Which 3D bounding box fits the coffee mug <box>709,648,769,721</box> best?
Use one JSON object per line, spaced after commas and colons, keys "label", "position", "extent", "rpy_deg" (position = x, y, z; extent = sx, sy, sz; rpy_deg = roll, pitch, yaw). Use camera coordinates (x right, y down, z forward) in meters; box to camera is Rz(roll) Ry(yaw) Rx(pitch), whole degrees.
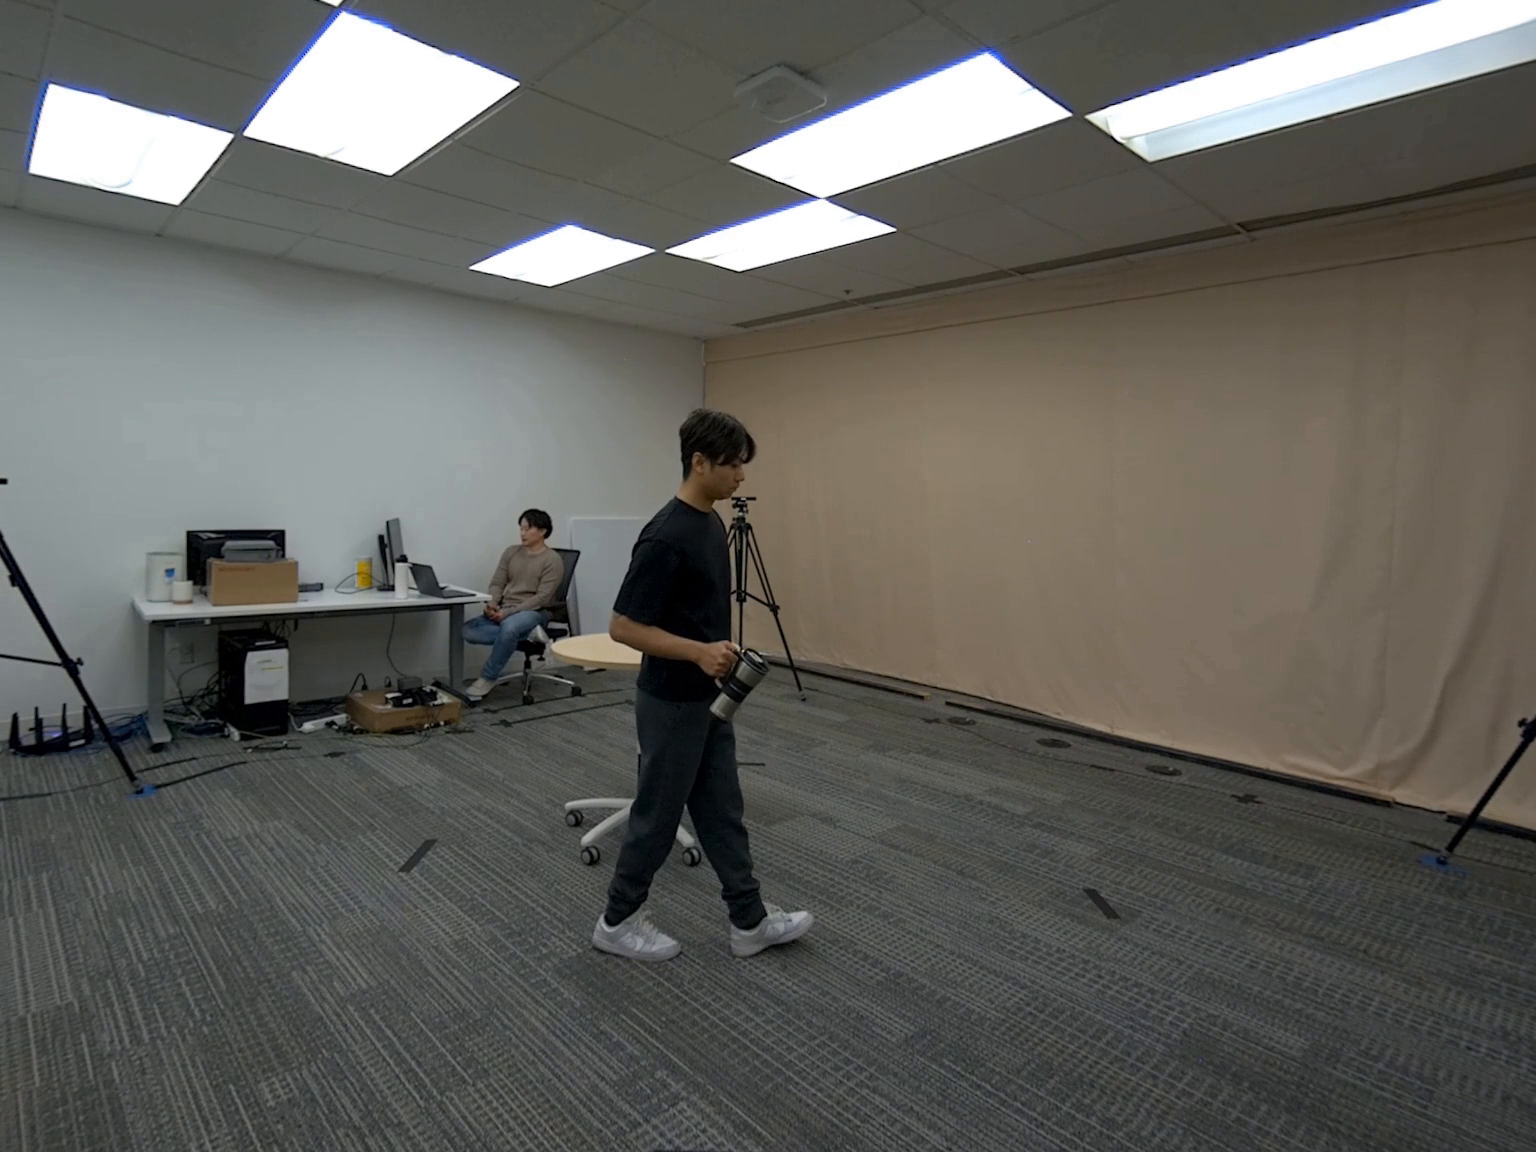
{"label": "coffee mug", "position": [-0.103, 0.300, 2.309], "extent": [0.125, 0.202, 0.085], "rpy_deg": [46, 19, 32]}
